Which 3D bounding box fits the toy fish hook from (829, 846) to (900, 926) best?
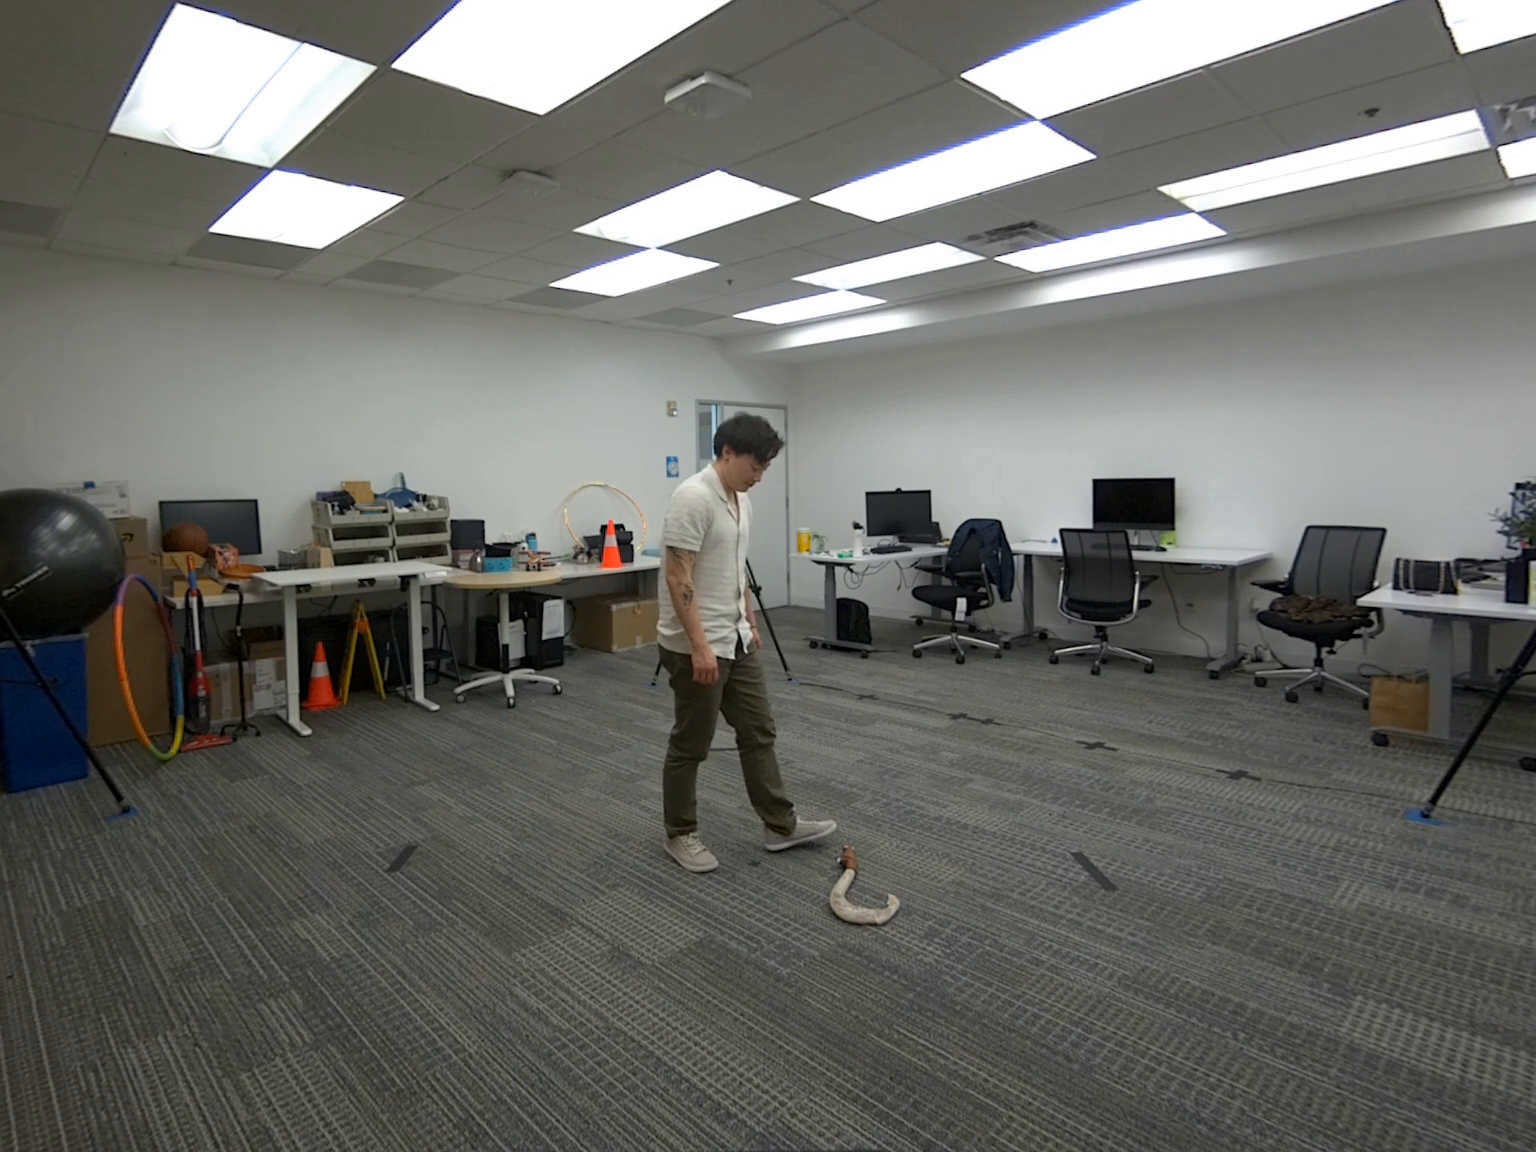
[{"bbox_3d":[0.328,1.042,2.907,0.226,0.048,0.505,8,8,6],"label":"toy fish hook"}]
